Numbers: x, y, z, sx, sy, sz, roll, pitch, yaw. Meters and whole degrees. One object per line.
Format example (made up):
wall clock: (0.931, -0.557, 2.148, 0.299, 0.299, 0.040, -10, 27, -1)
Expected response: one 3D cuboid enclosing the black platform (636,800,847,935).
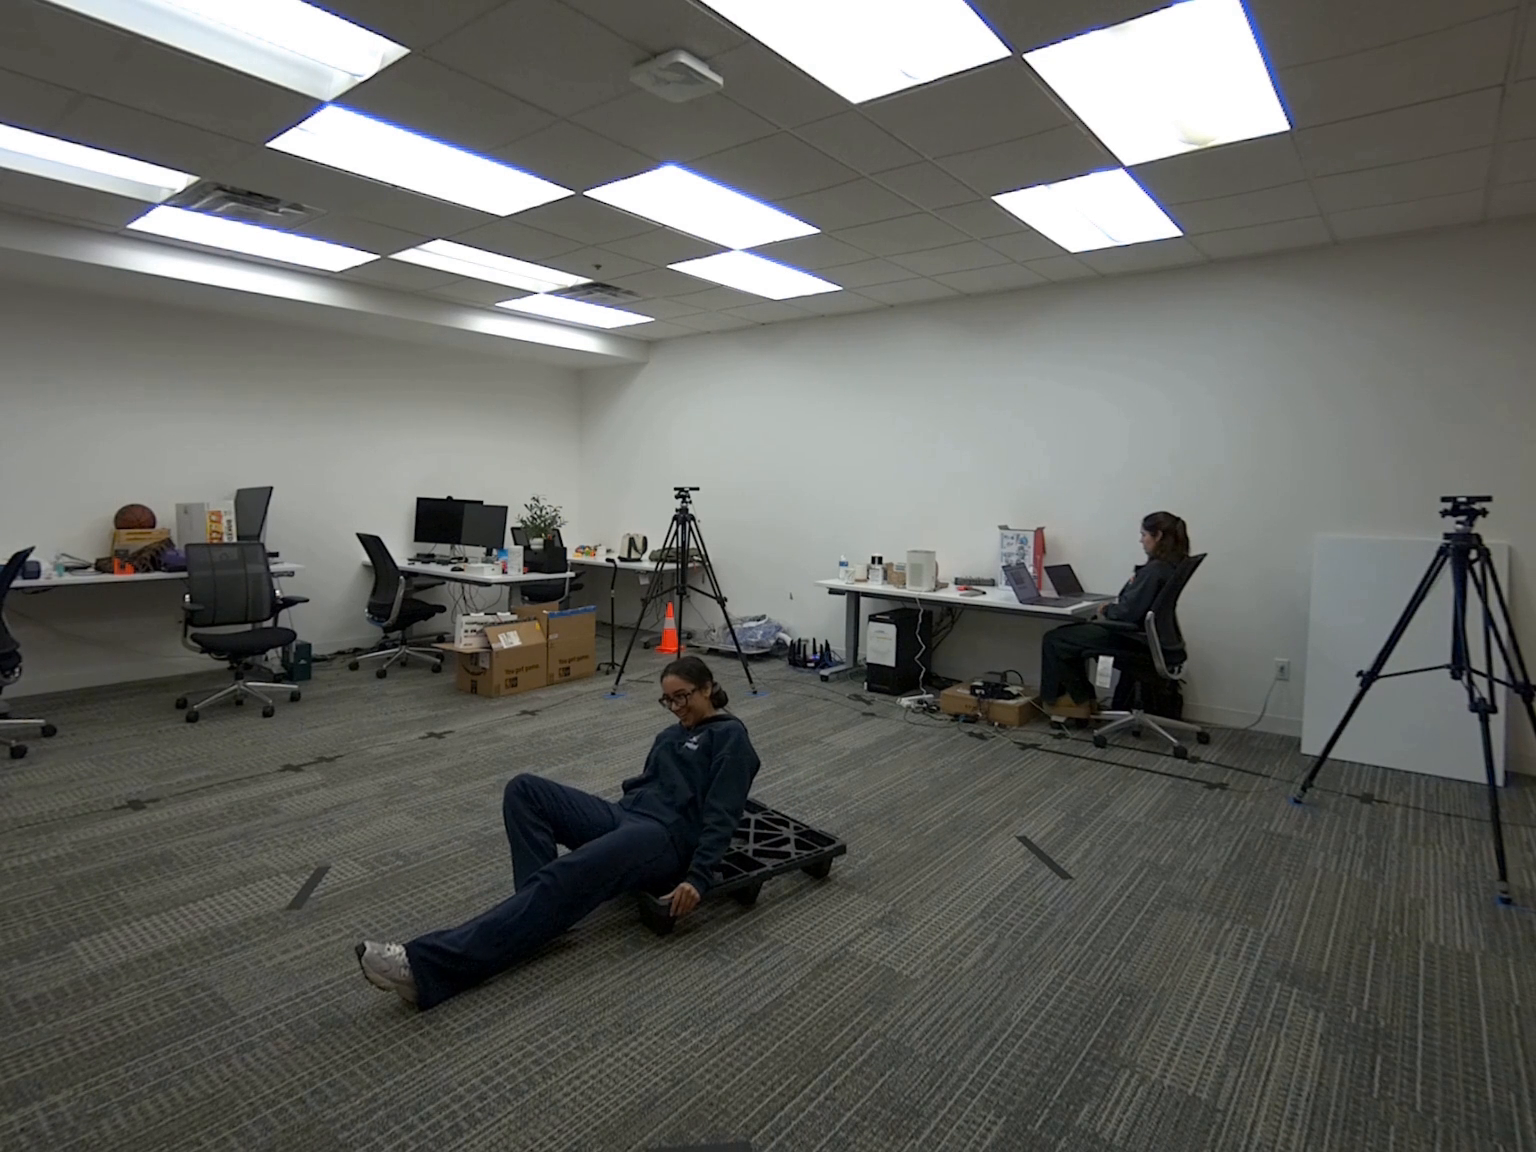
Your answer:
black platform: (-0.212, 1.013, 3.031, 0.783, 0.142, 0.626, -5, 8, -37)
